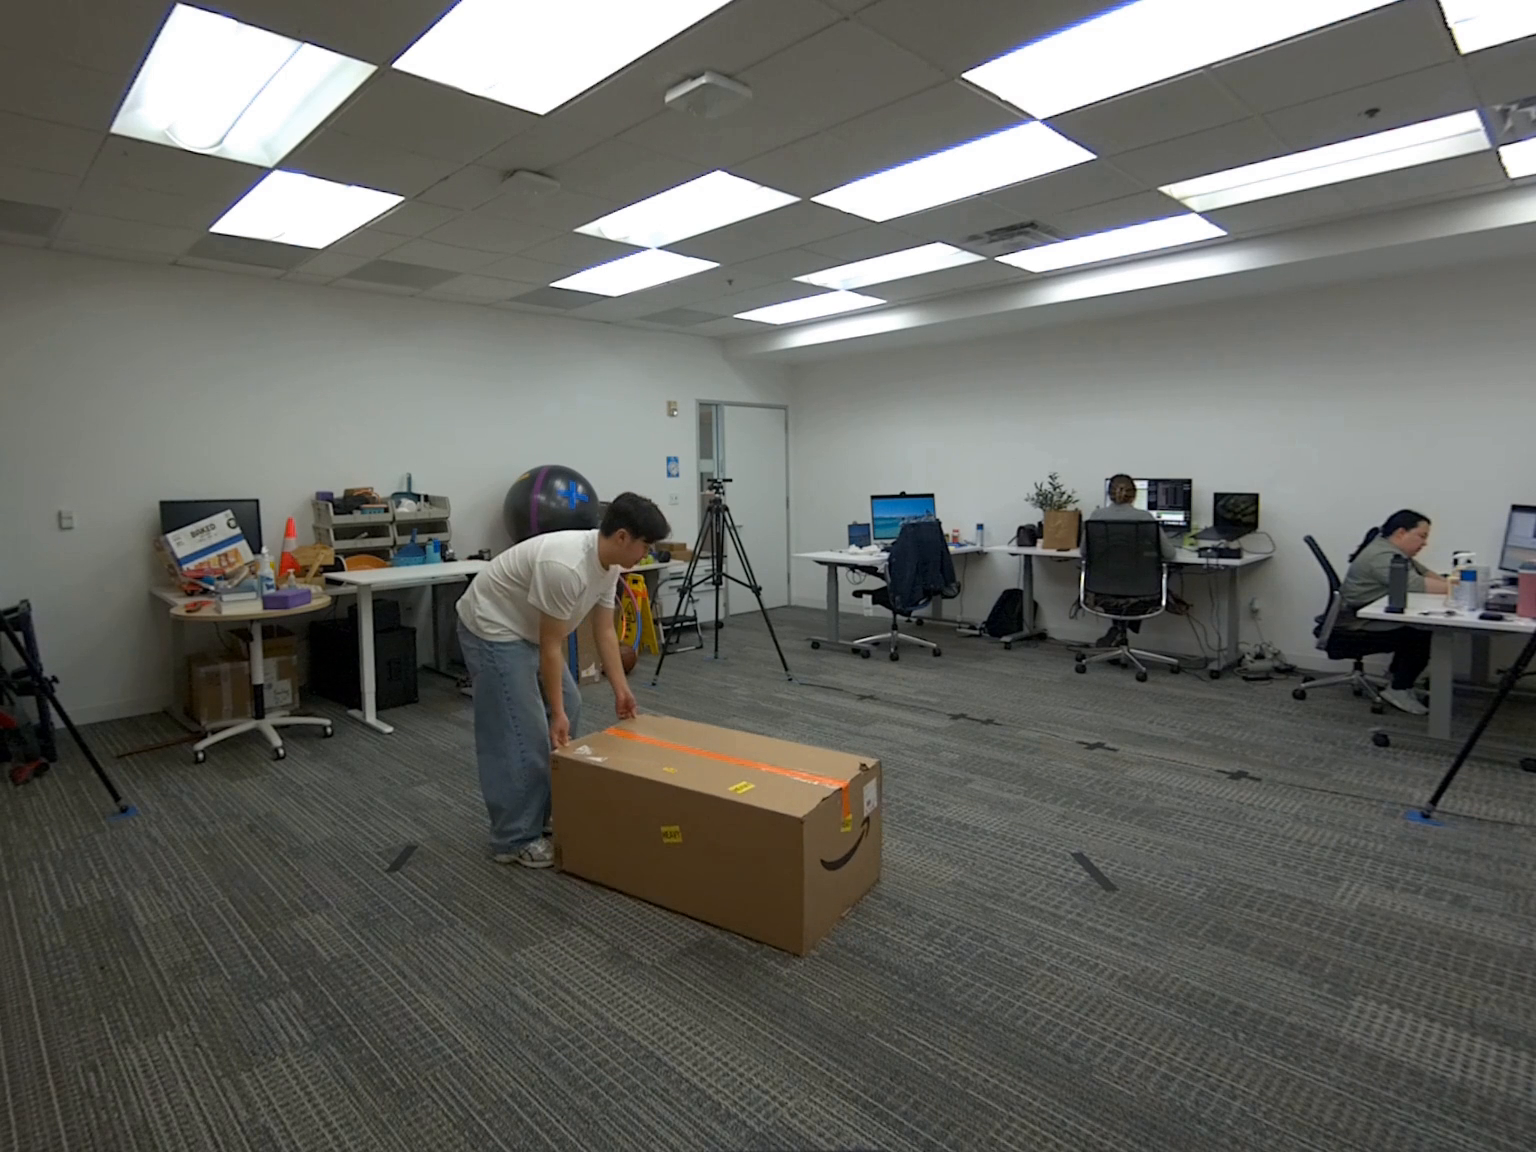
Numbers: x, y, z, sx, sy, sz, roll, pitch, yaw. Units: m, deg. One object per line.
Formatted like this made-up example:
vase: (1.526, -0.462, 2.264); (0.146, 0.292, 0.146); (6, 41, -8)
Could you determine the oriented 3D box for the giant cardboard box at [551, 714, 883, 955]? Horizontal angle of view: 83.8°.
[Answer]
giant cardboard box: (-0.185, 0.837, 2.992); (1.055, 0.424, 0.565); (4, 8, 33)
